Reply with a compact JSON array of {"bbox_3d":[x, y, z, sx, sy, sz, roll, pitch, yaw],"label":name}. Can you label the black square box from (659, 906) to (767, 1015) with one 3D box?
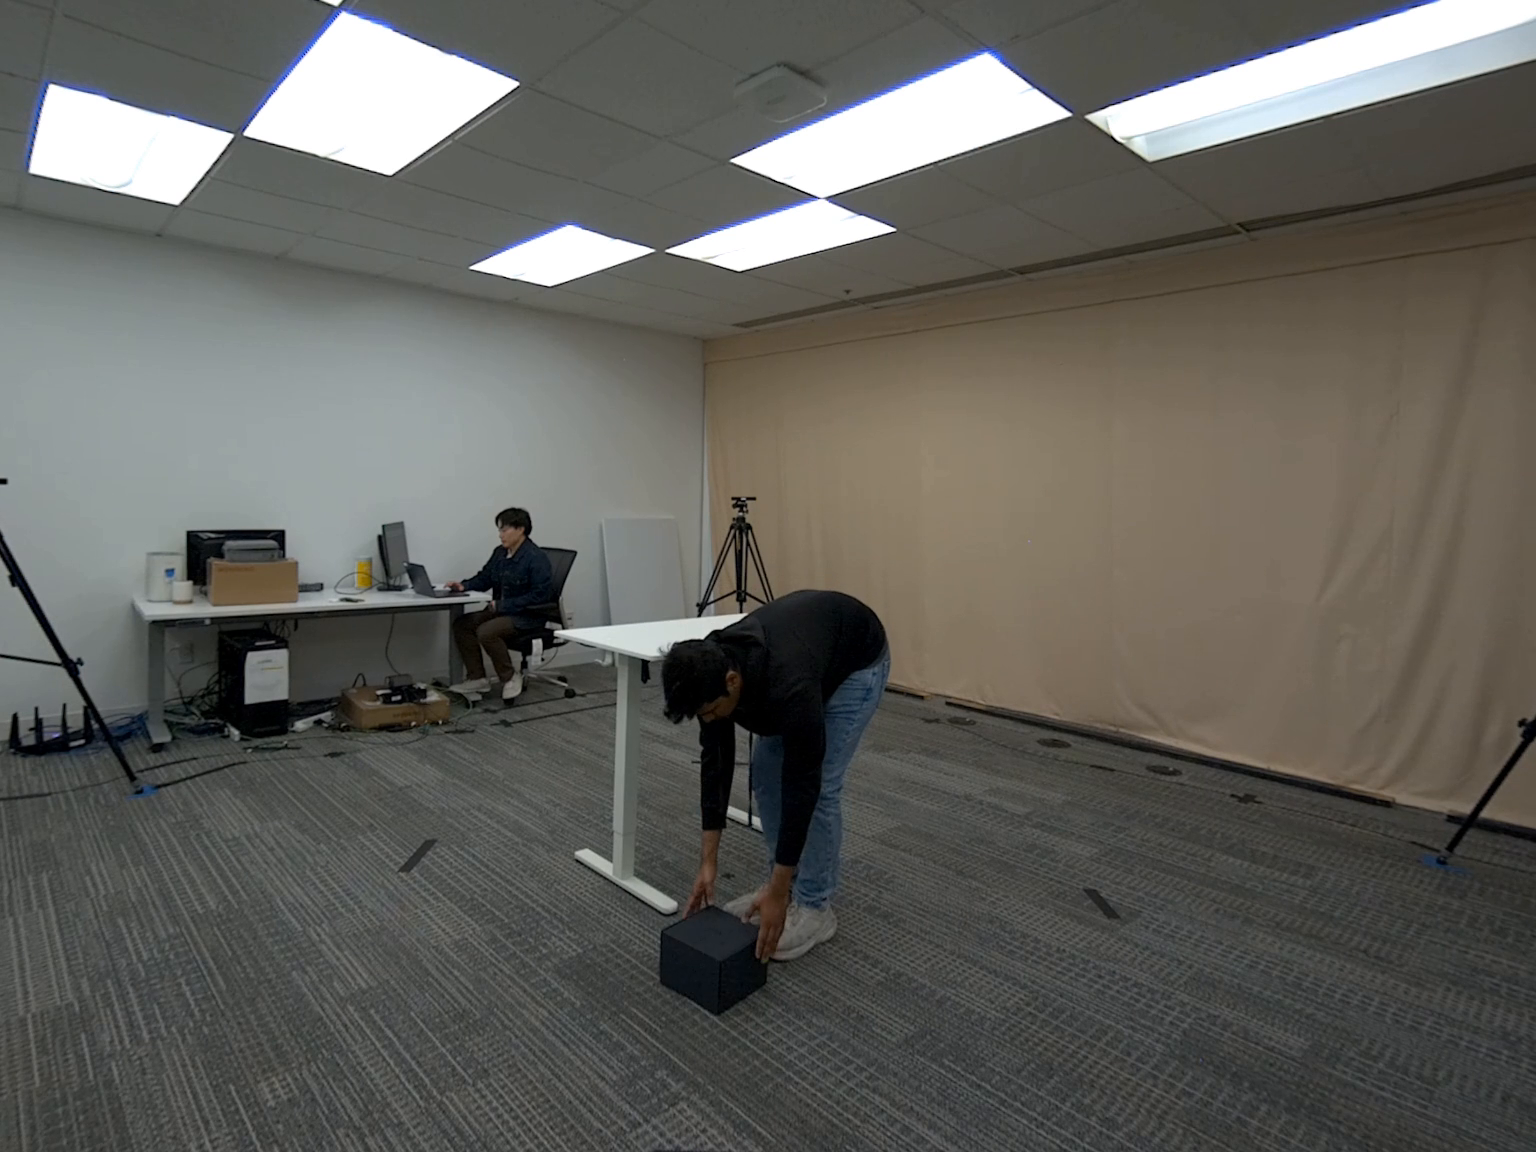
[{"bbox_3d":[-0.156,1.083,2.405,0.234,0.155,0.212,6,6,38],"label":"black square box"}]
